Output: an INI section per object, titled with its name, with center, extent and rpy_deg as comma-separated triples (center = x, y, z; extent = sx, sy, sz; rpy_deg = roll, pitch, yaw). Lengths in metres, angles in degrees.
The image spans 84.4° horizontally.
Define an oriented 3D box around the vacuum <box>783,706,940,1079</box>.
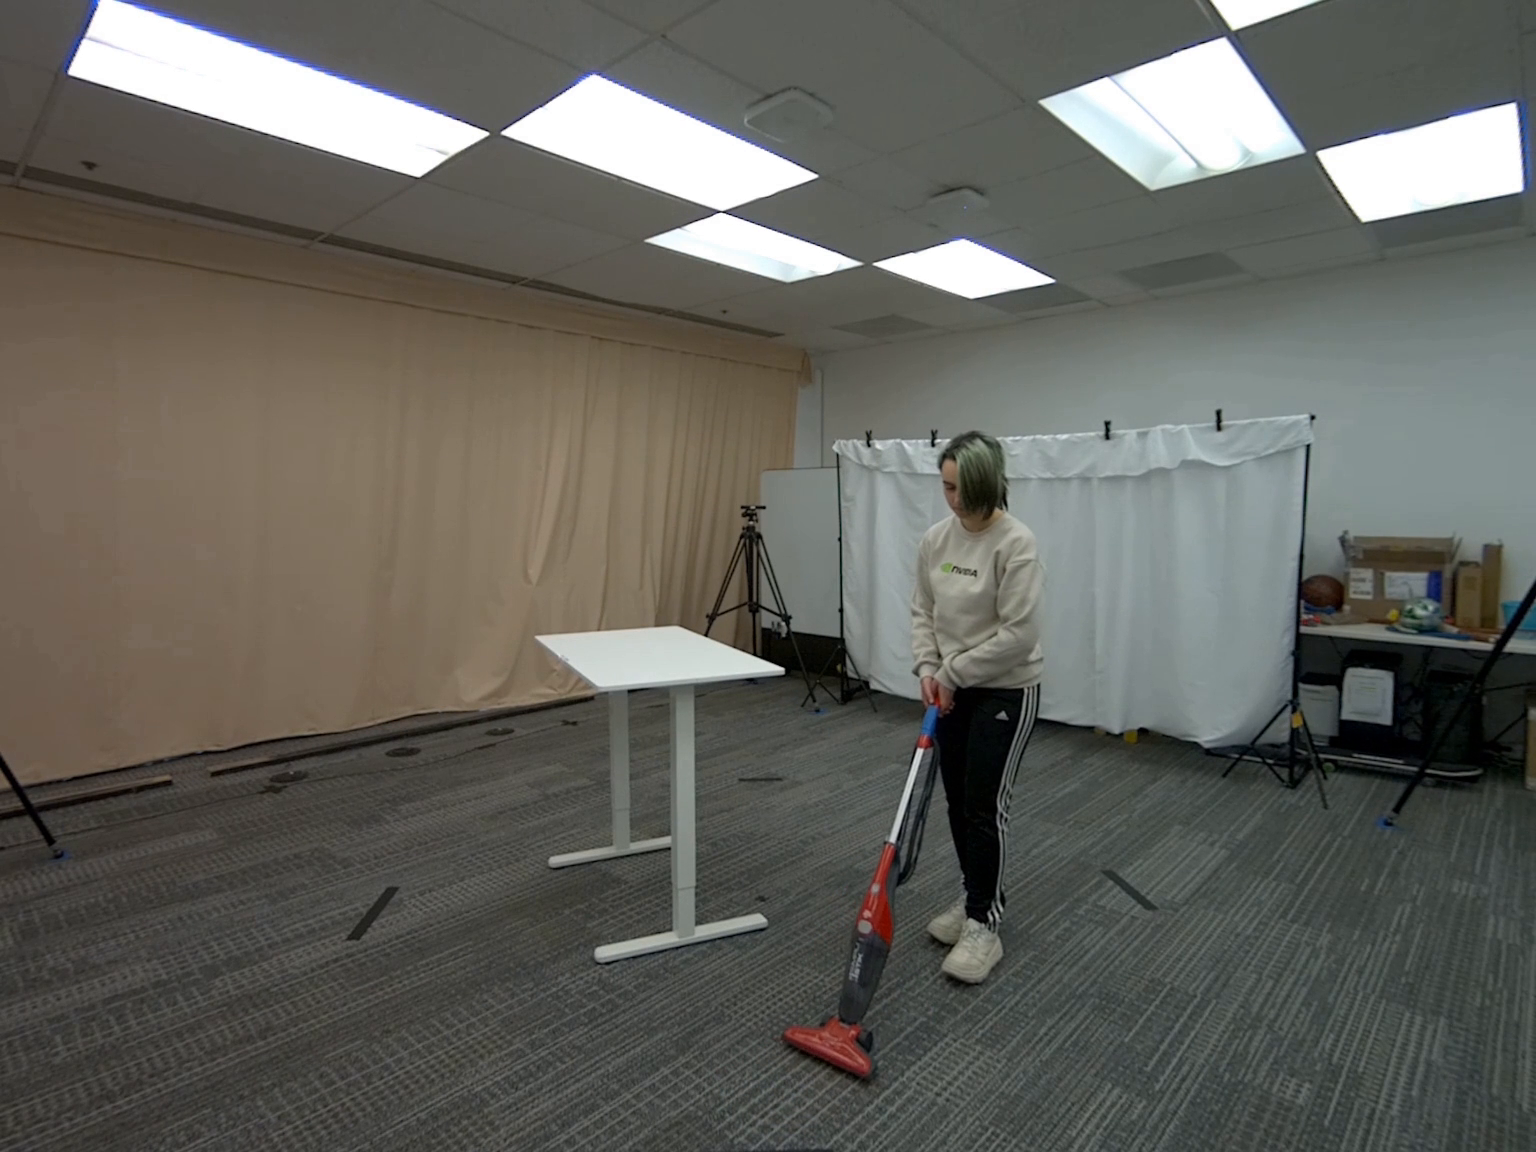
[vacuum]
center = 0.369, 0.795, 2.370
extent = 0.261, 1.051, 0.139
rpy_deg = 6, -33, 33
